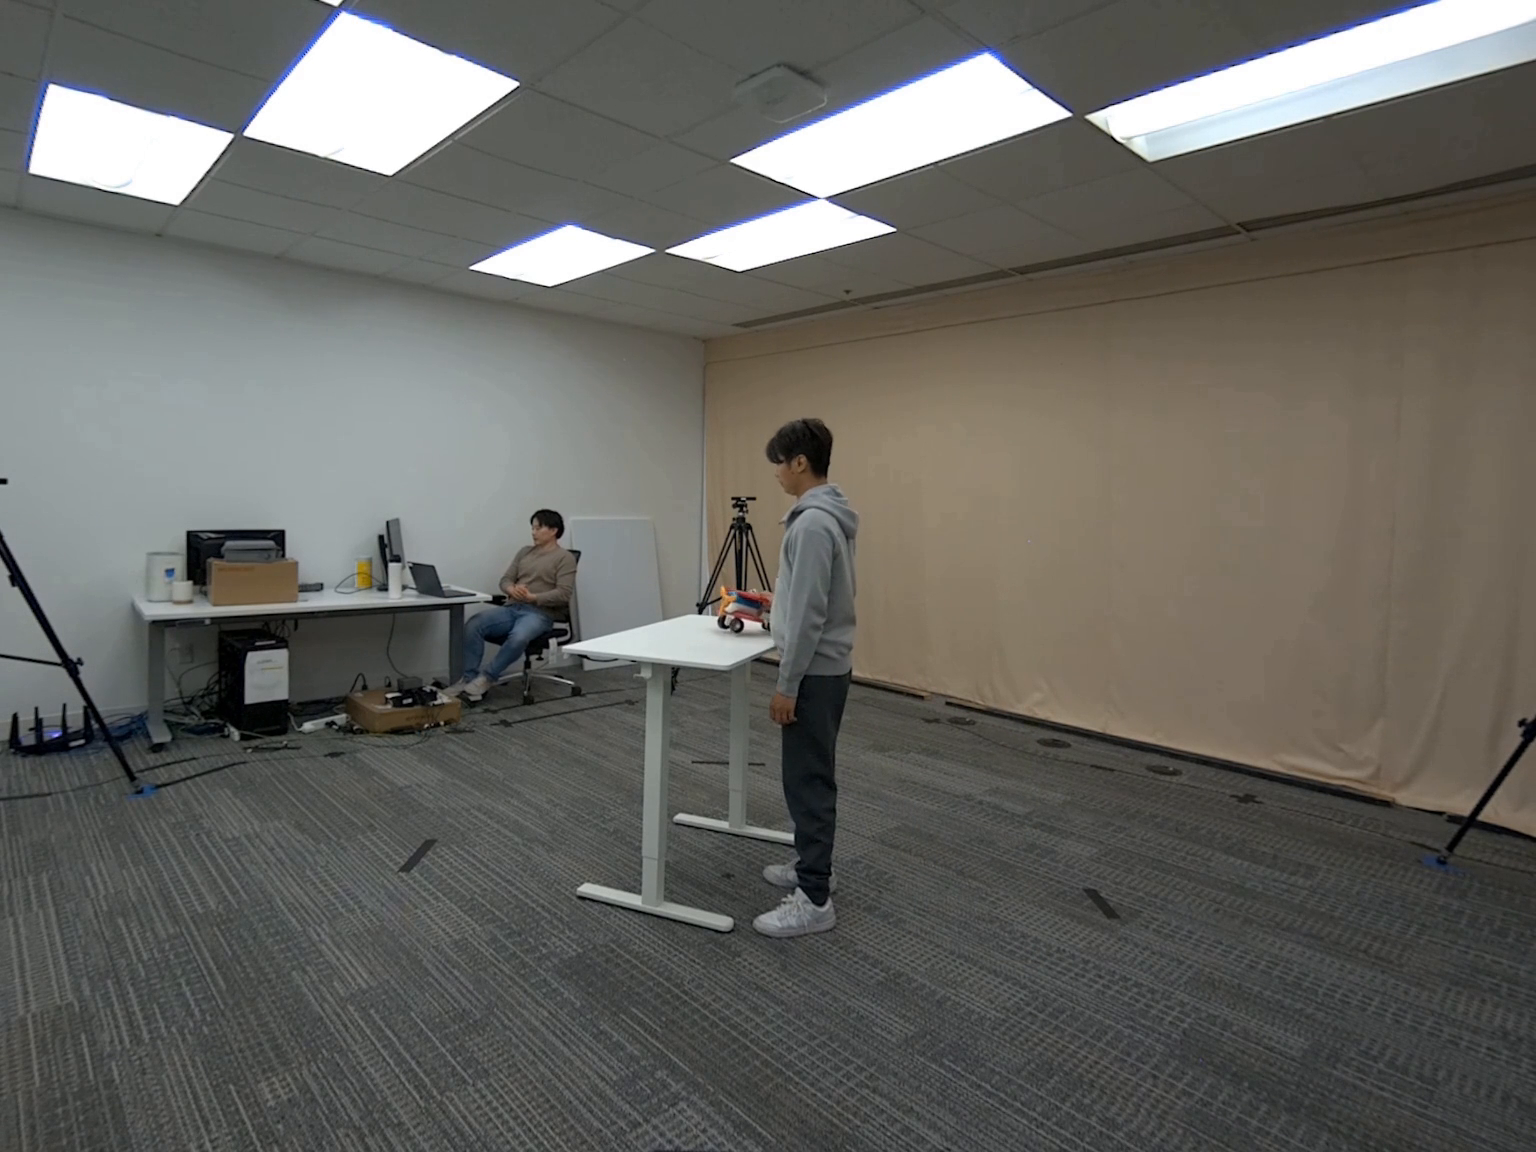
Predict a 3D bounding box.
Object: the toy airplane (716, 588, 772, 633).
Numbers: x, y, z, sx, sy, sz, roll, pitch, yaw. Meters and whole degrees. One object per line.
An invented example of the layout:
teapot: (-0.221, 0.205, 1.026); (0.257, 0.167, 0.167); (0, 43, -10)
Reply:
toy airplane: (-0.083, 0.133, 3.221); (0.257, 0.156, 0.254); (8, 6, 29)
